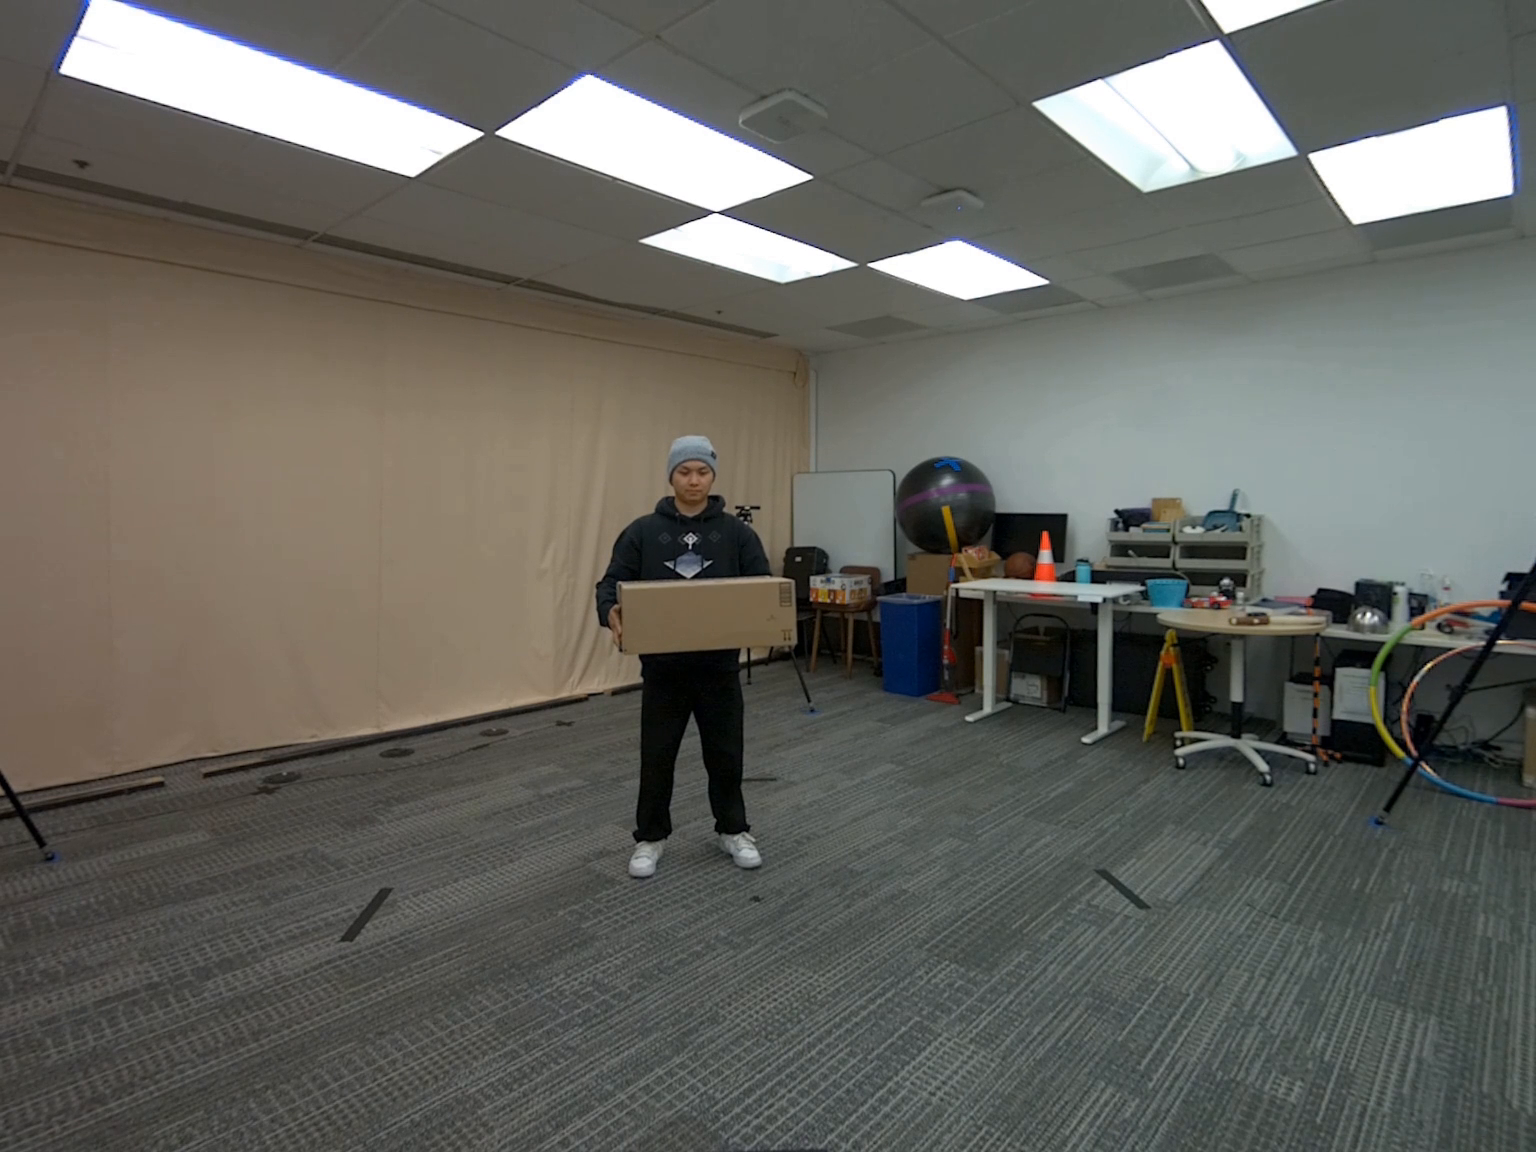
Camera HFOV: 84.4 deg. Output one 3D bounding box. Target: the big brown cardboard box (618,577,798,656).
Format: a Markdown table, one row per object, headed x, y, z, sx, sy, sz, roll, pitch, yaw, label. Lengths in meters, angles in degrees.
| x | y | z | sx | sy | sz | roll | pitch | yaw | label |
| --- | --- | --- | --- | --- | --- | --- | --- | --- | --- |
| -0.225 | 0.127 | 2.928 | 0.585 | 0.233 | 0.421 | -3 | 3 | -7 | big brown cardboard box |
